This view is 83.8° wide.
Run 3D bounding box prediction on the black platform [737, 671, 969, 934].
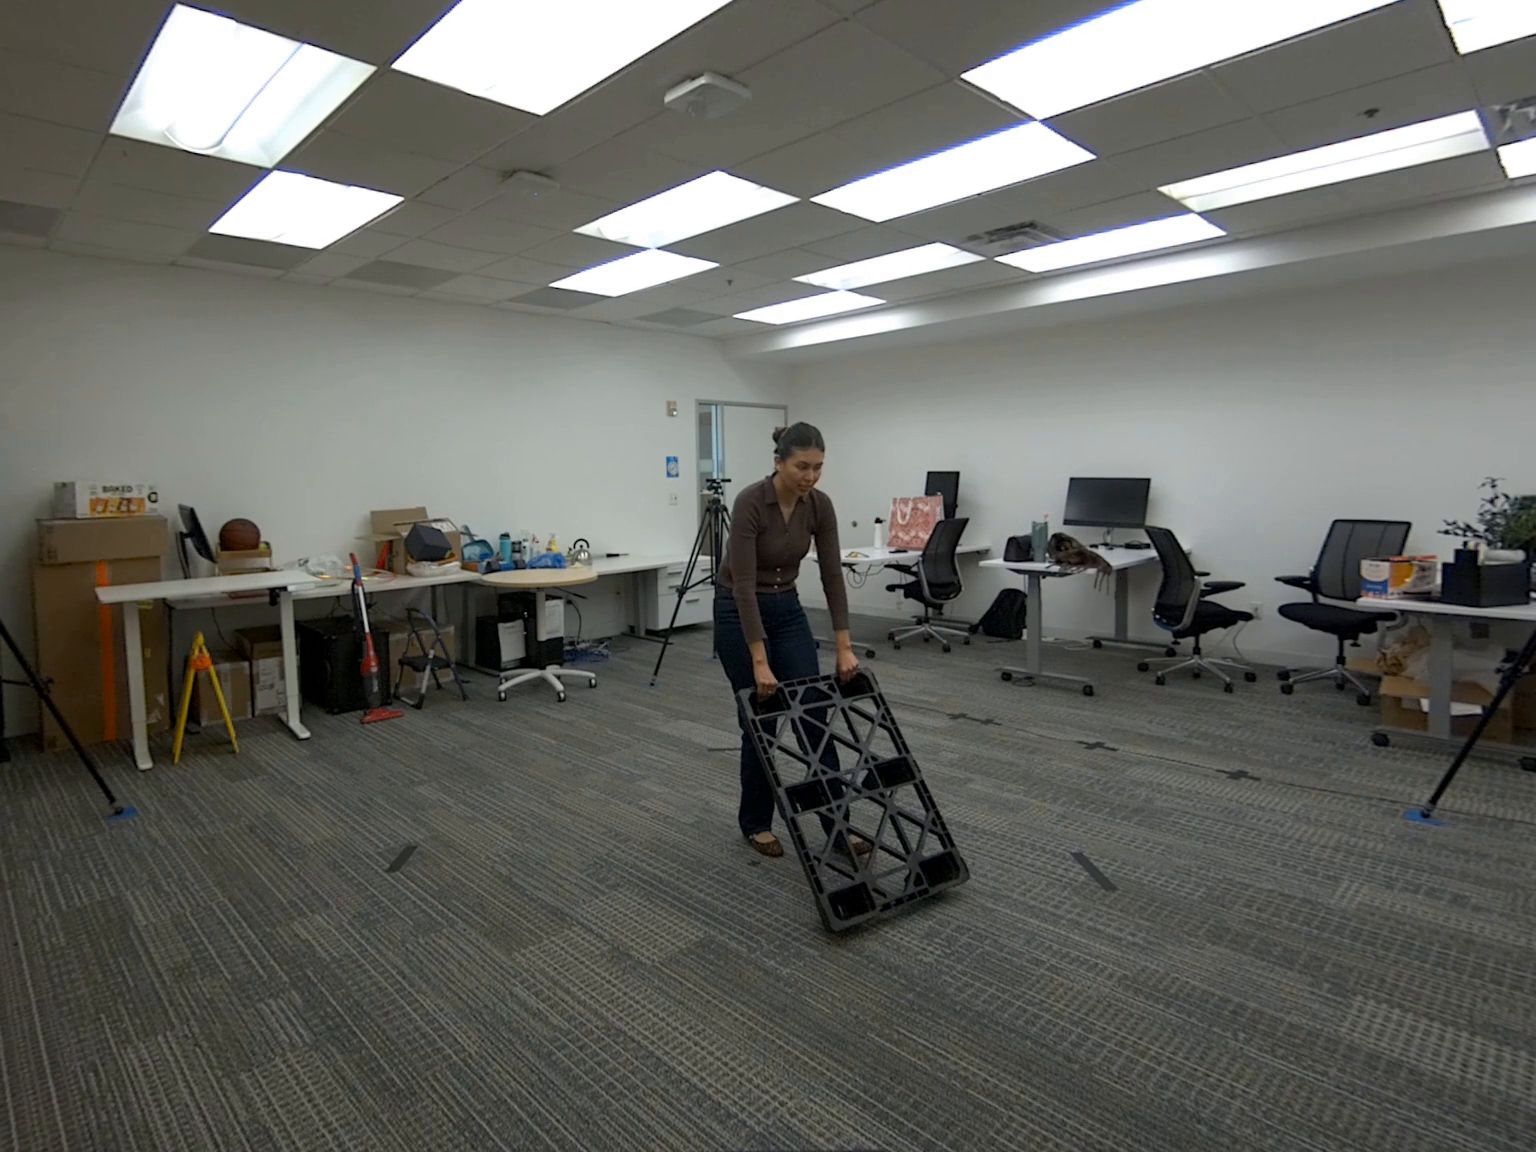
[{"bbox_3d":[0.270,0.729,2.911,0.590,0.830,0.143,-3,-33,-34],"label":"black platform"}]
